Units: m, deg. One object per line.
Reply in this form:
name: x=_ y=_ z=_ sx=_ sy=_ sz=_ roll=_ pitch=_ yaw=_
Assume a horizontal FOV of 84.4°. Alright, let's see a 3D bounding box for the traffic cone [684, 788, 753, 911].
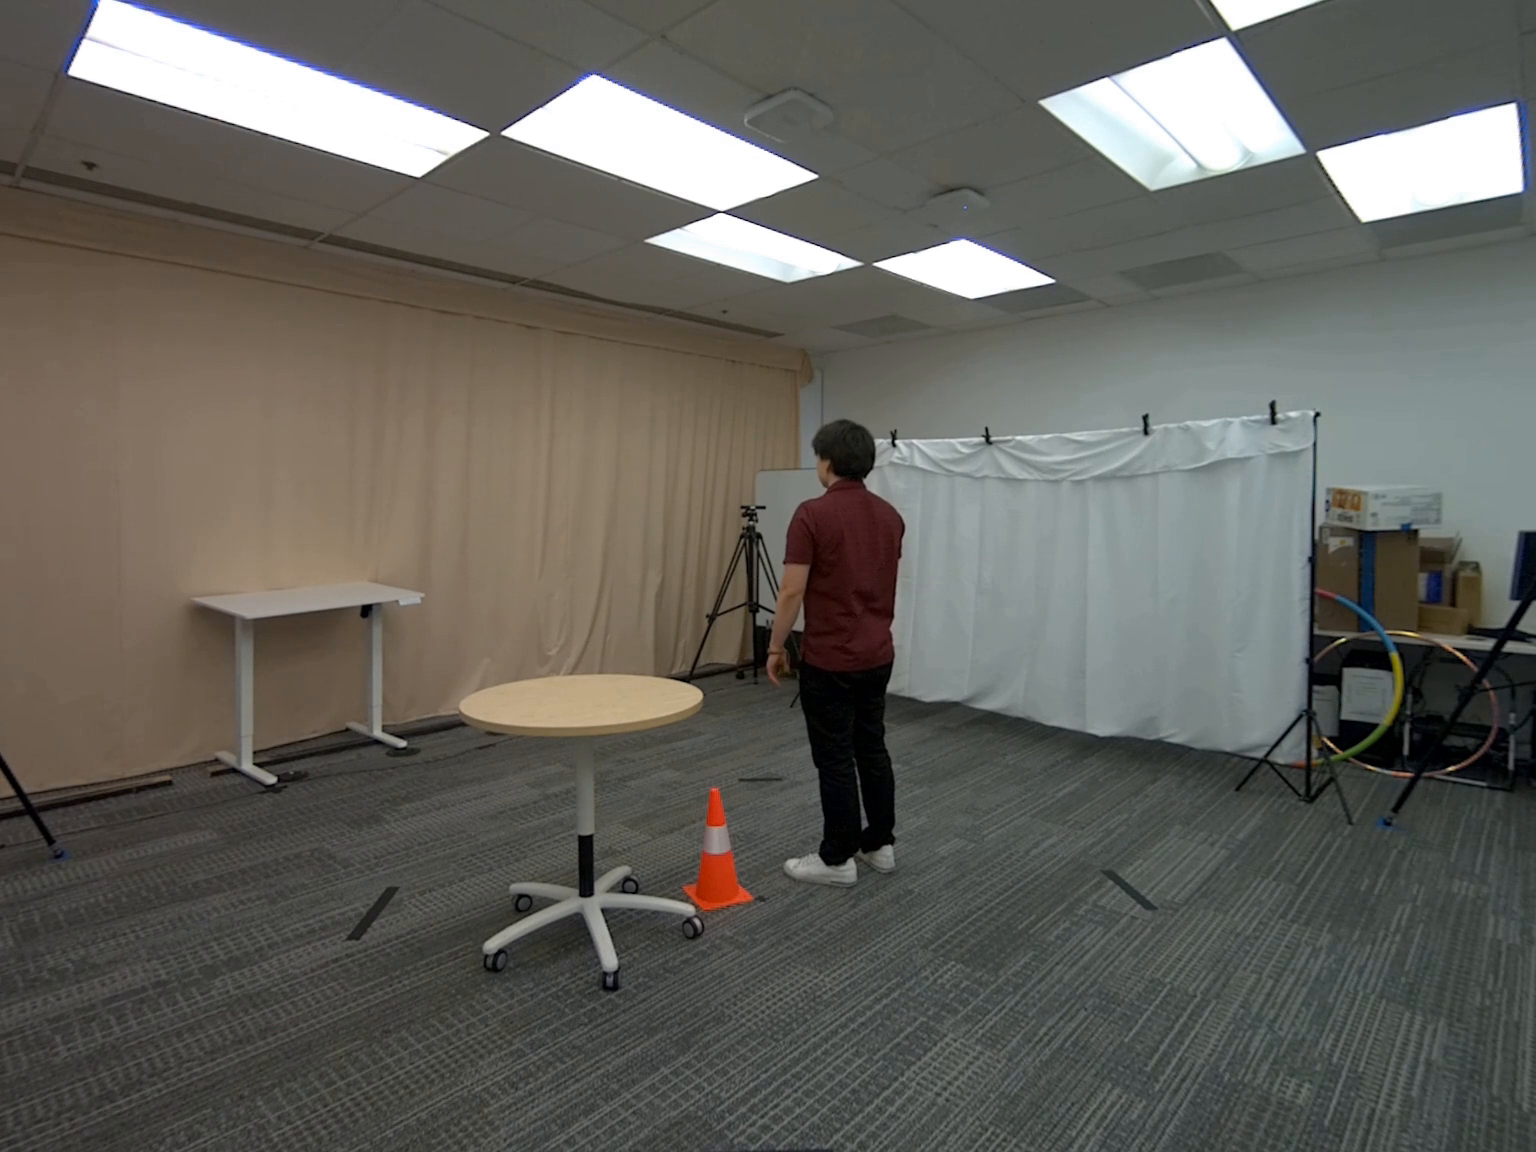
traffic cone: x=-0.187 y=0.963 z=3.019 sx=0.198 sy=0.383 sz=0.210 roll=-3 pitch=3 yaw=-26
